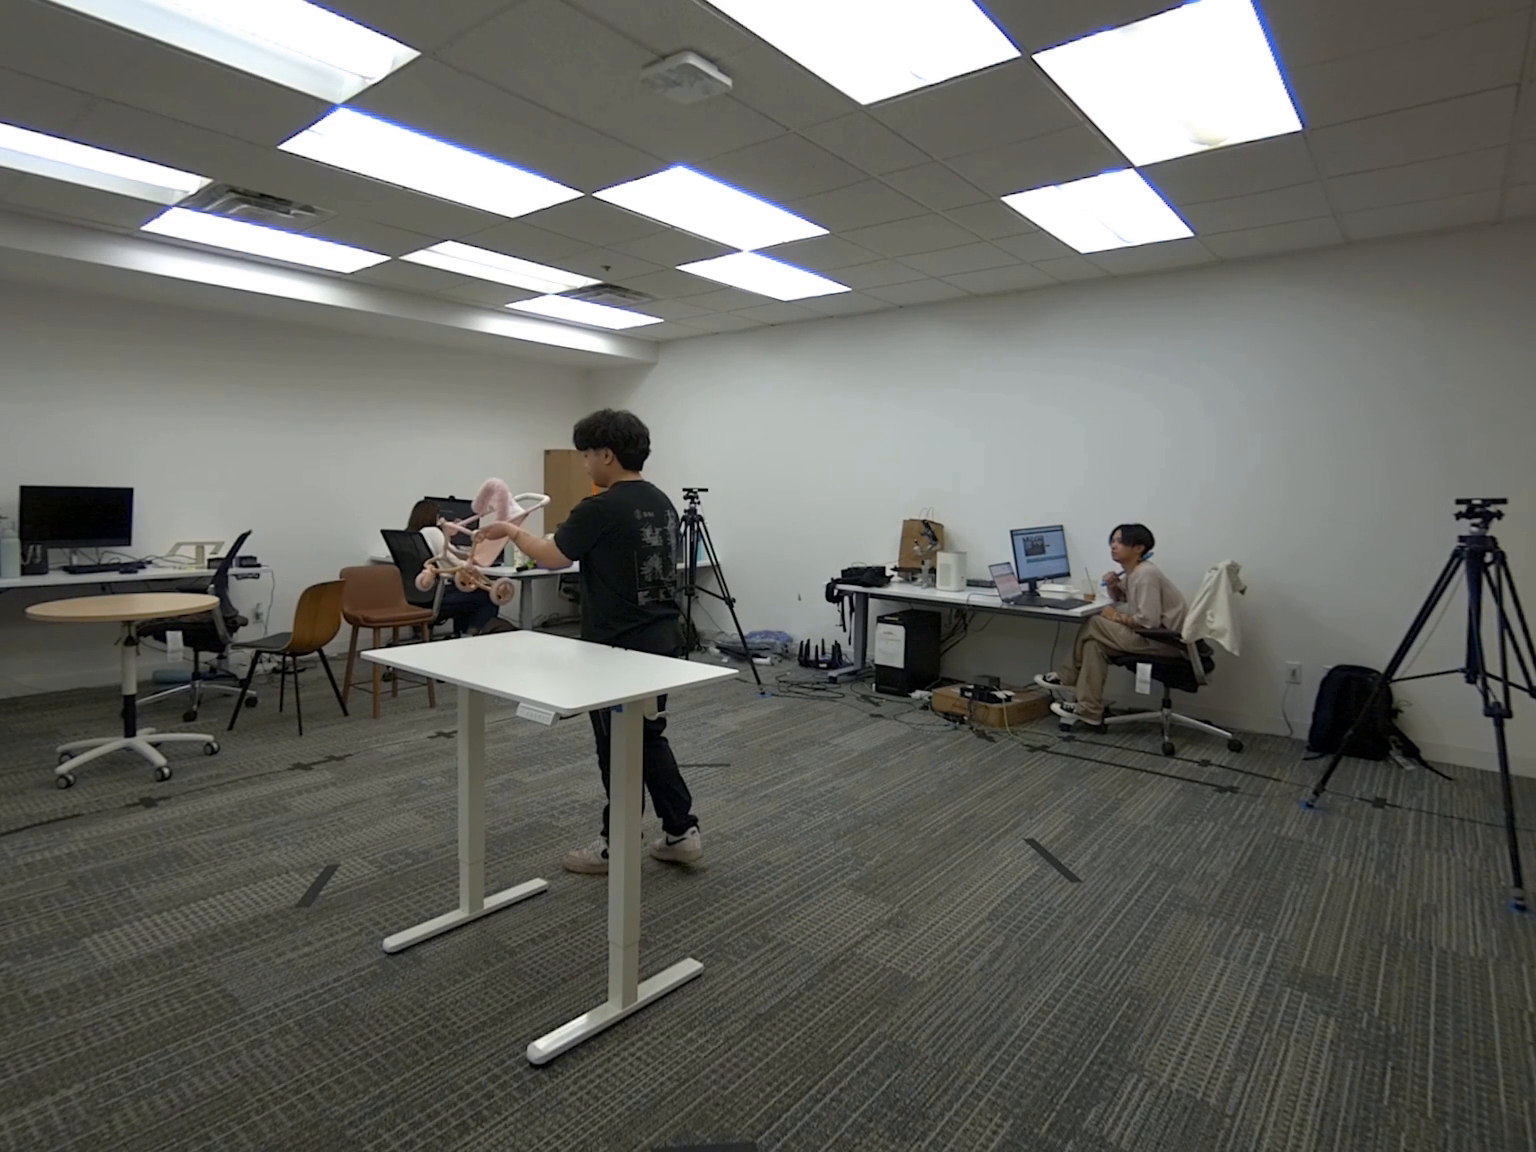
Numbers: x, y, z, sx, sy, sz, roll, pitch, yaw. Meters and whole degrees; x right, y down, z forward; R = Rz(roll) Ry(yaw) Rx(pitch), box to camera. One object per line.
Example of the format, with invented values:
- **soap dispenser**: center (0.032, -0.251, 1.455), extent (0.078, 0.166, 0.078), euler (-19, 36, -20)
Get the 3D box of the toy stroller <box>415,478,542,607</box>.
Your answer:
- **toy stroller**: center (-1.130, -0.147, 3.277), extent (0.292, 0.538, 0.327), euler (12, -14, 43)
